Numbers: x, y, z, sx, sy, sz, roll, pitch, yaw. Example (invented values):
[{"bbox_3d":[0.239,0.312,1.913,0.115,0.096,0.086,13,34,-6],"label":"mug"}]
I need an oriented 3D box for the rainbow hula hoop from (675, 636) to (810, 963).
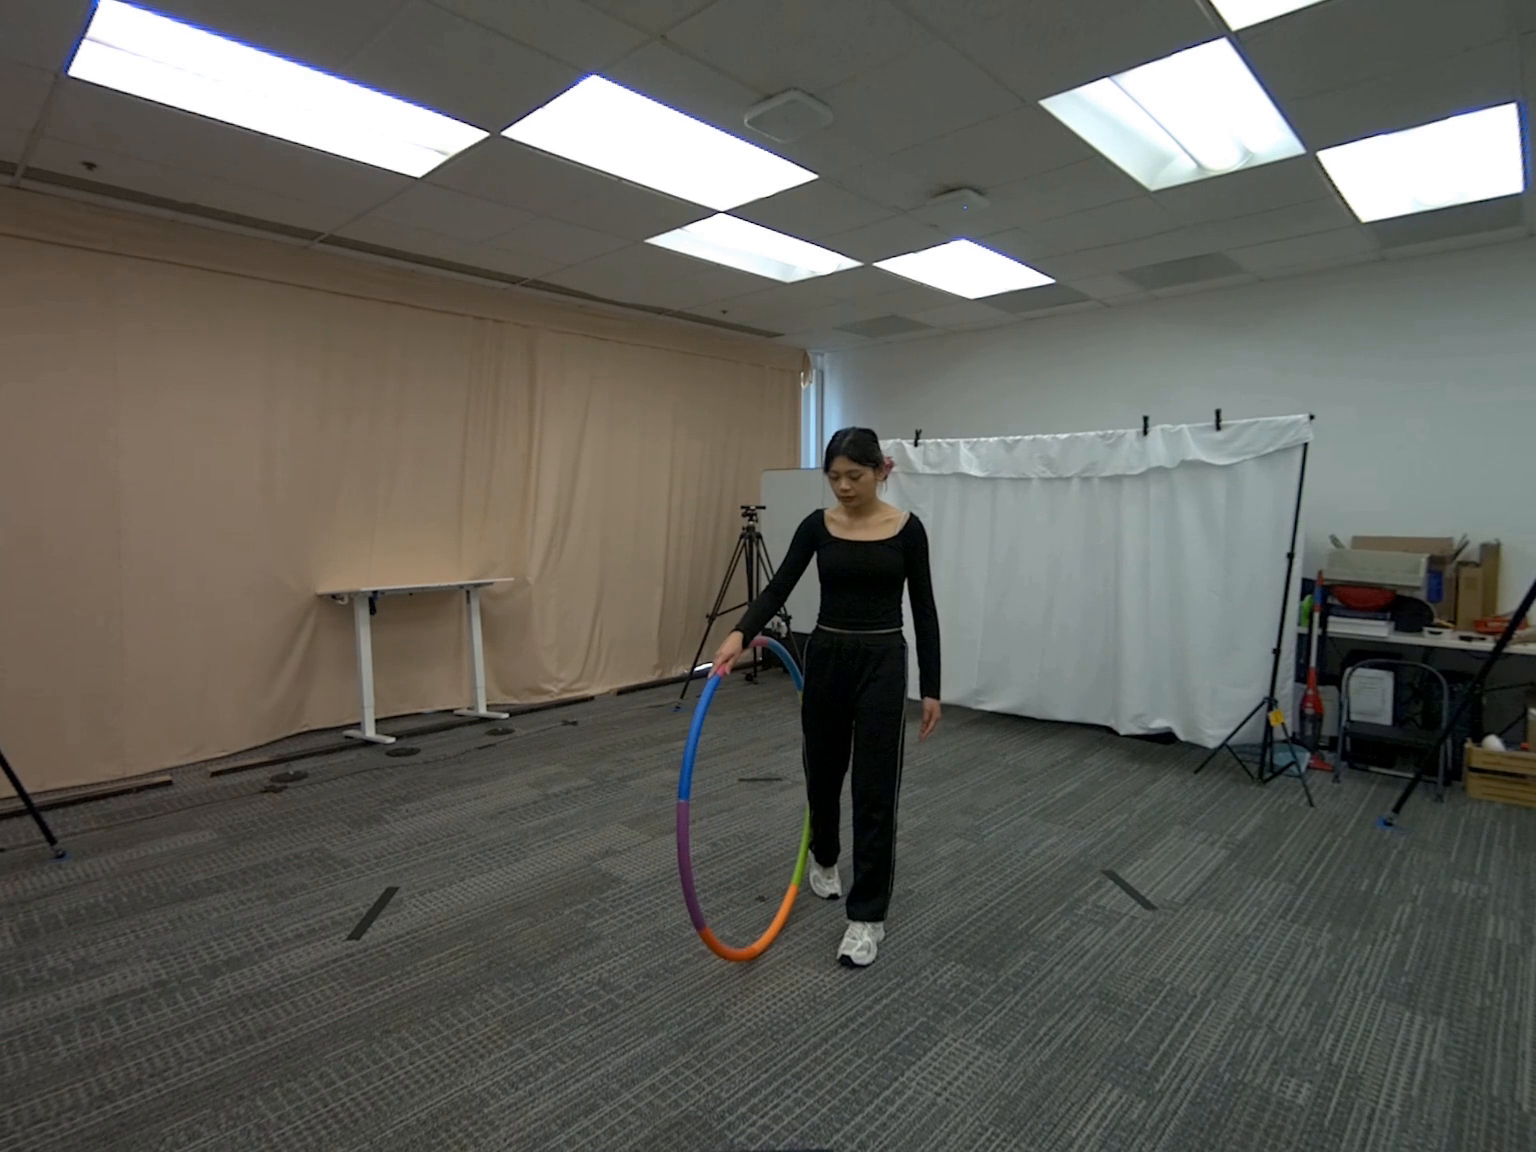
[{"bbox_3d":[-0.035,0.683,2.675,0.036,0.978,0.955,-4,2,25],"label":"rainbow hula hoop"}]
